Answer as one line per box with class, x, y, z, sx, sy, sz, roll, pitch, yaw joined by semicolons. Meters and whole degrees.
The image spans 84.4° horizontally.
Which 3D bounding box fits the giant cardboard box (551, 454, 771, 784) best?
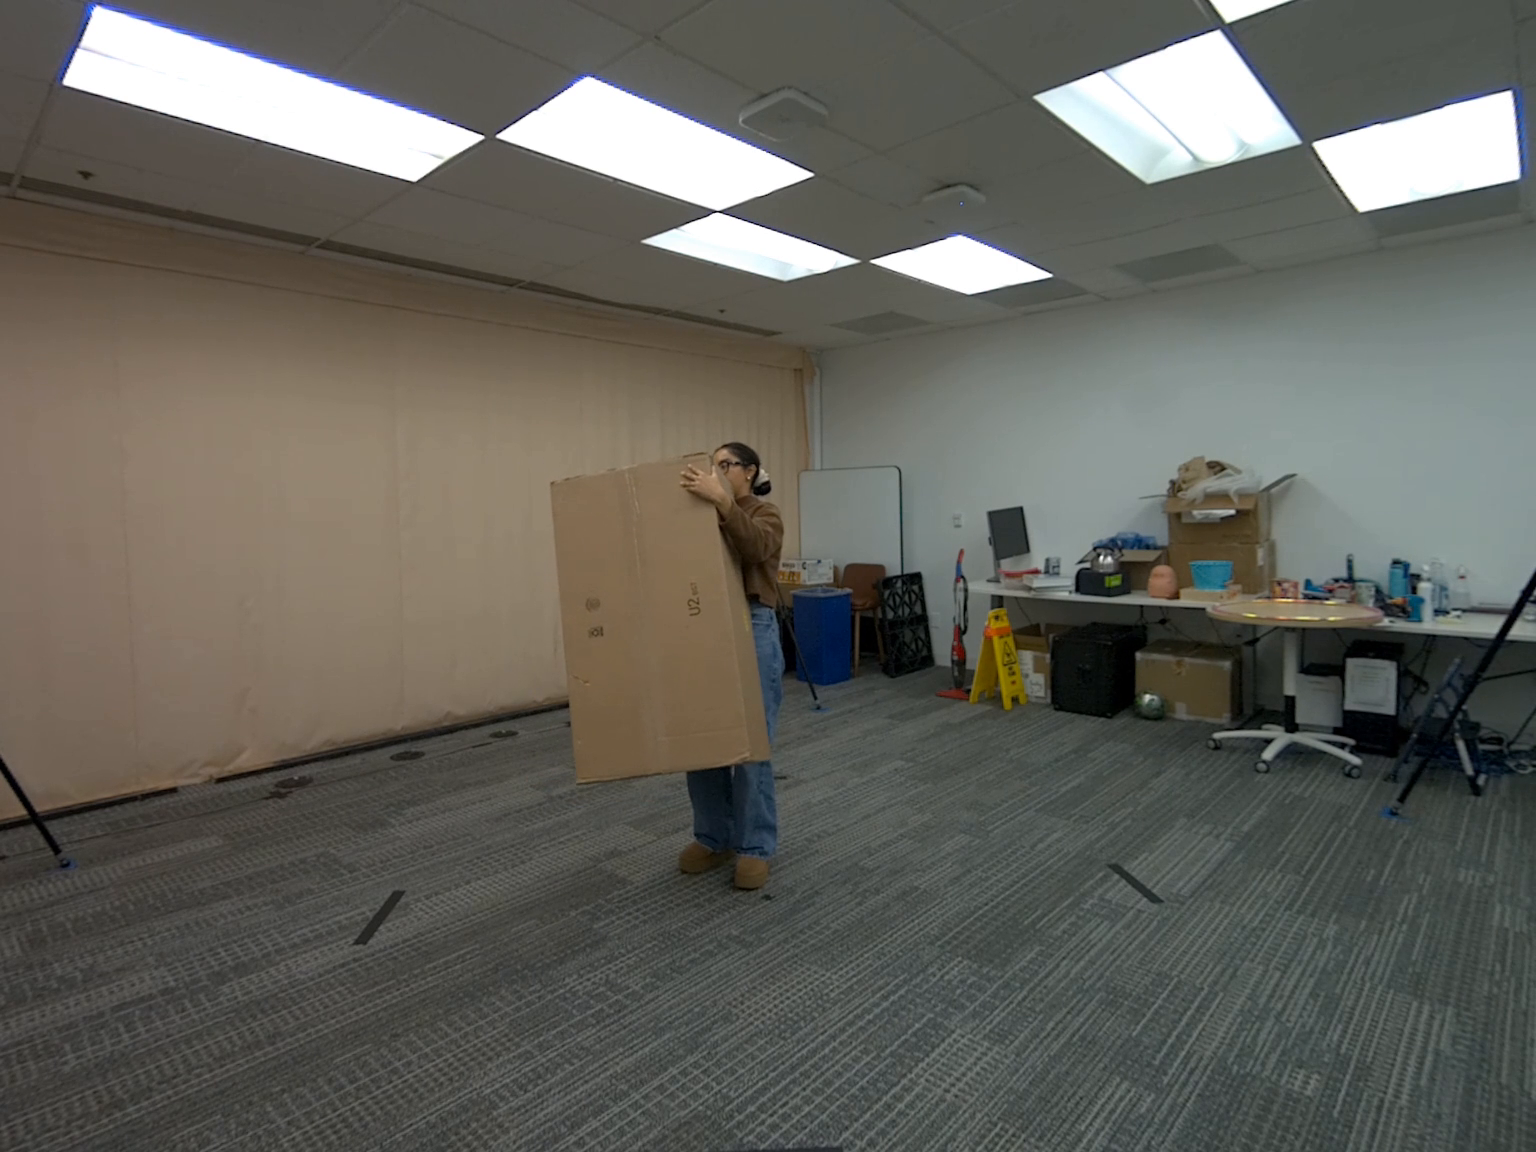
giant cardboard box;-0.381;0.163;2.939;0.583;1.037;0.417;-11;-15;9
